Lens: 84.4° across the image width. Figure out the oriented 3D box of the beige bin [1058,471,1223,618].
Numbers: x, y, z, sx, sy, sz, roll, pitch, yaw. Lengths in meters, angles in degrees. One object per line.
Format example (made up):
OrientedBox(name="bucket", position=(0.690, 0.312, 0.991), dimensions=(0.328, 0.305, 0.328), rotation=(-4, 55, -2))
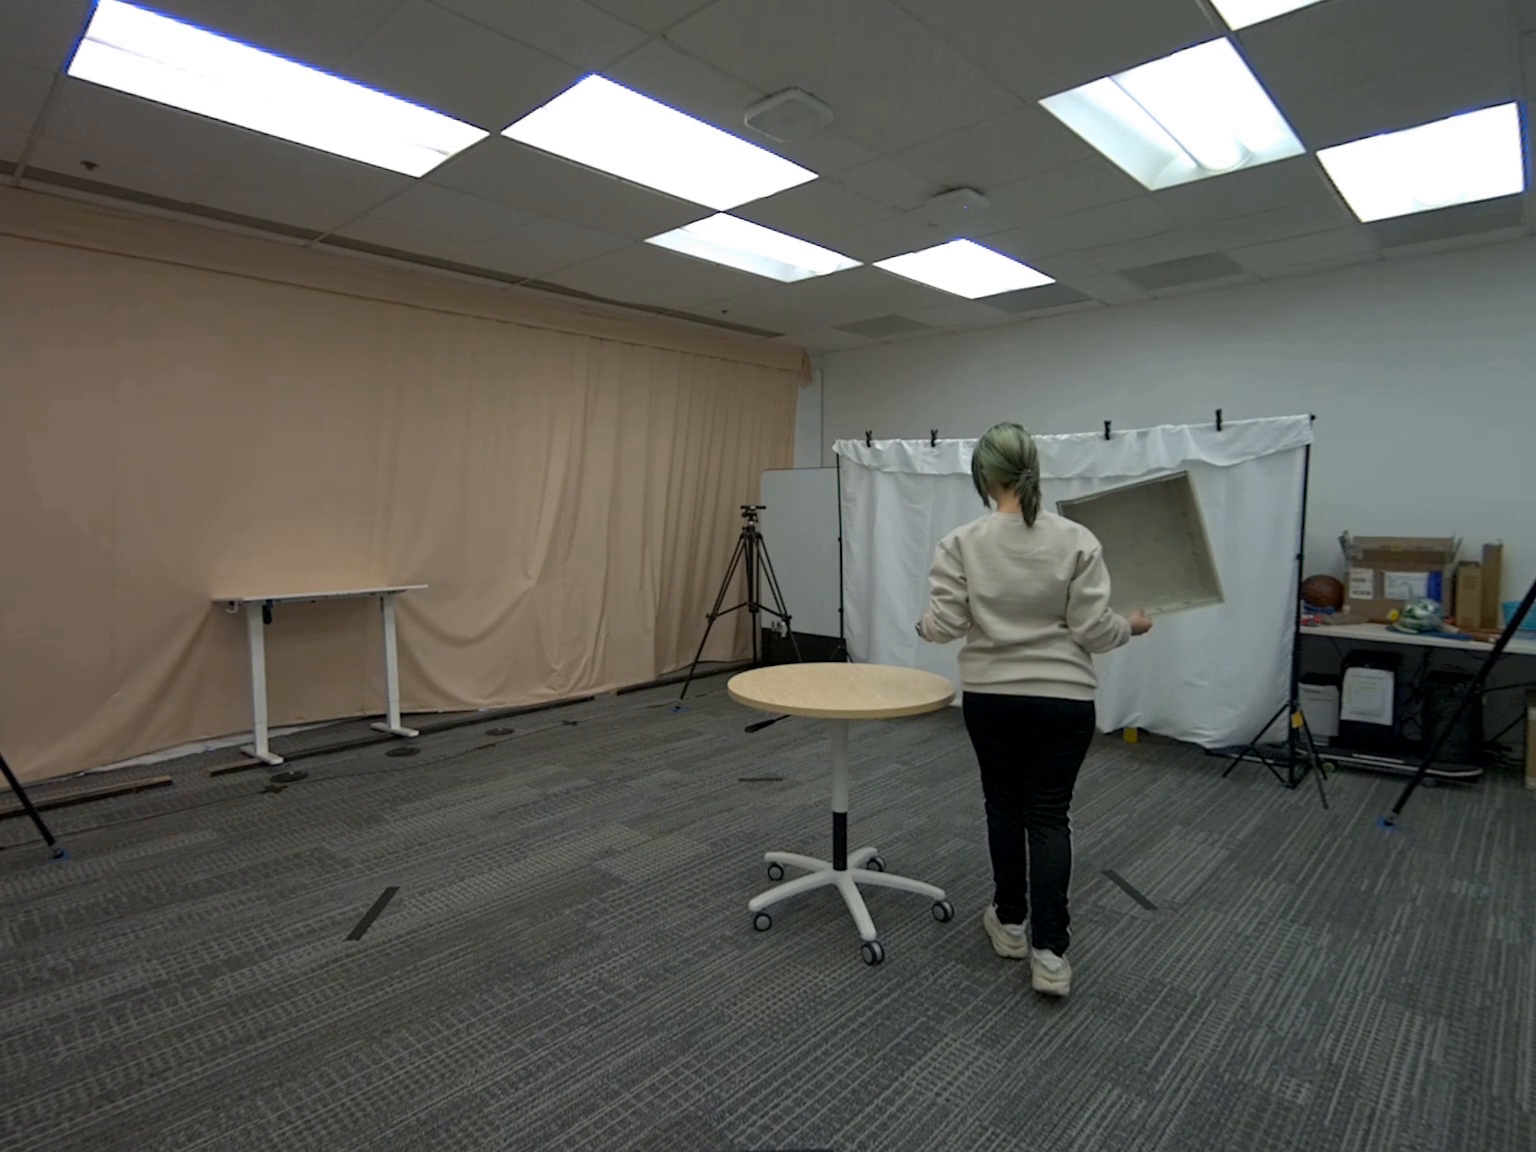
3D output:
OrientedBox(name="beige bin", position=(1.180, -0.085, 2.677), dimensions=(0.383, 0.422, 0.186), rotation=(-16, 1, 16))
